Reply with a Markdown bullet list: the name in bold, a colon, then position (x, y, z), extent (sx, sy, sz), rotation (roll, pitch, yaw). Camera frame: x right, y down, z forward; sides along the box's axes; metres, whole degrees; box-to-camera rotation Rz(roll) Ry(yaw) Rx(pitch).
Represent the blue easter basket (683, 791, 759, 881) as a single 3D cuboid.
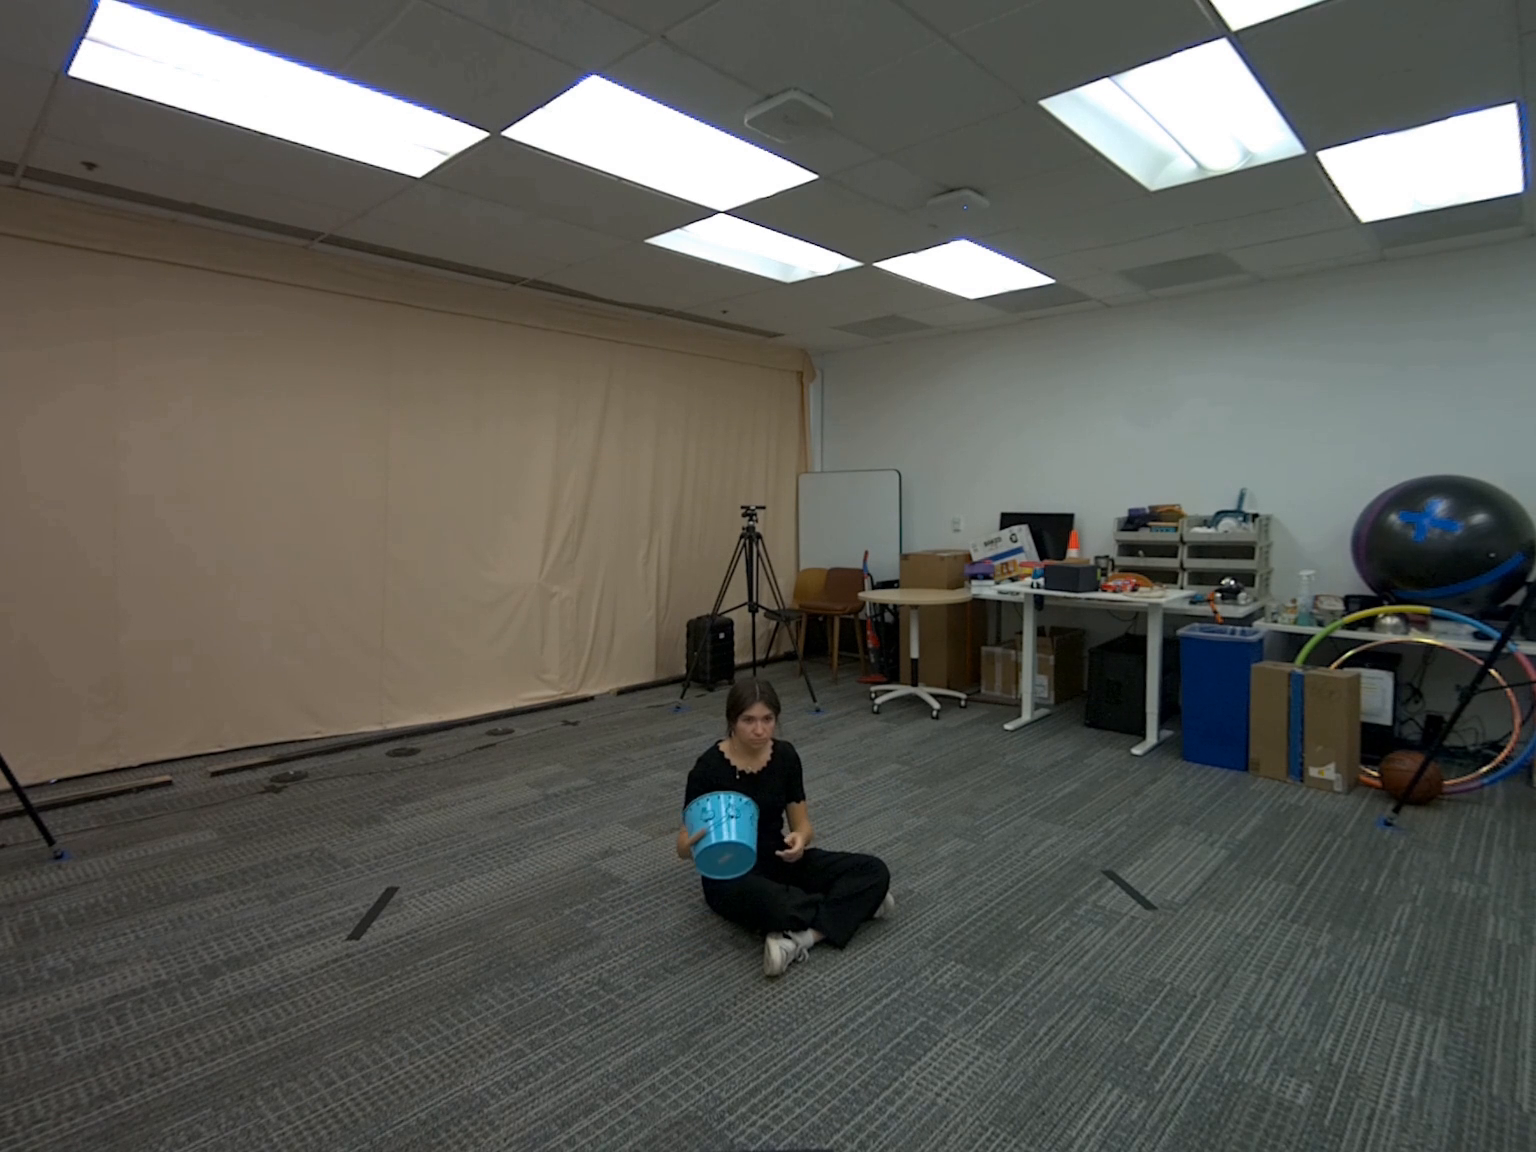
- **blue easter basket**: position (-0.141, 0.778, 2.493), extent (0.242, 0.240, 0.159), rotation (0, 37, -6)
